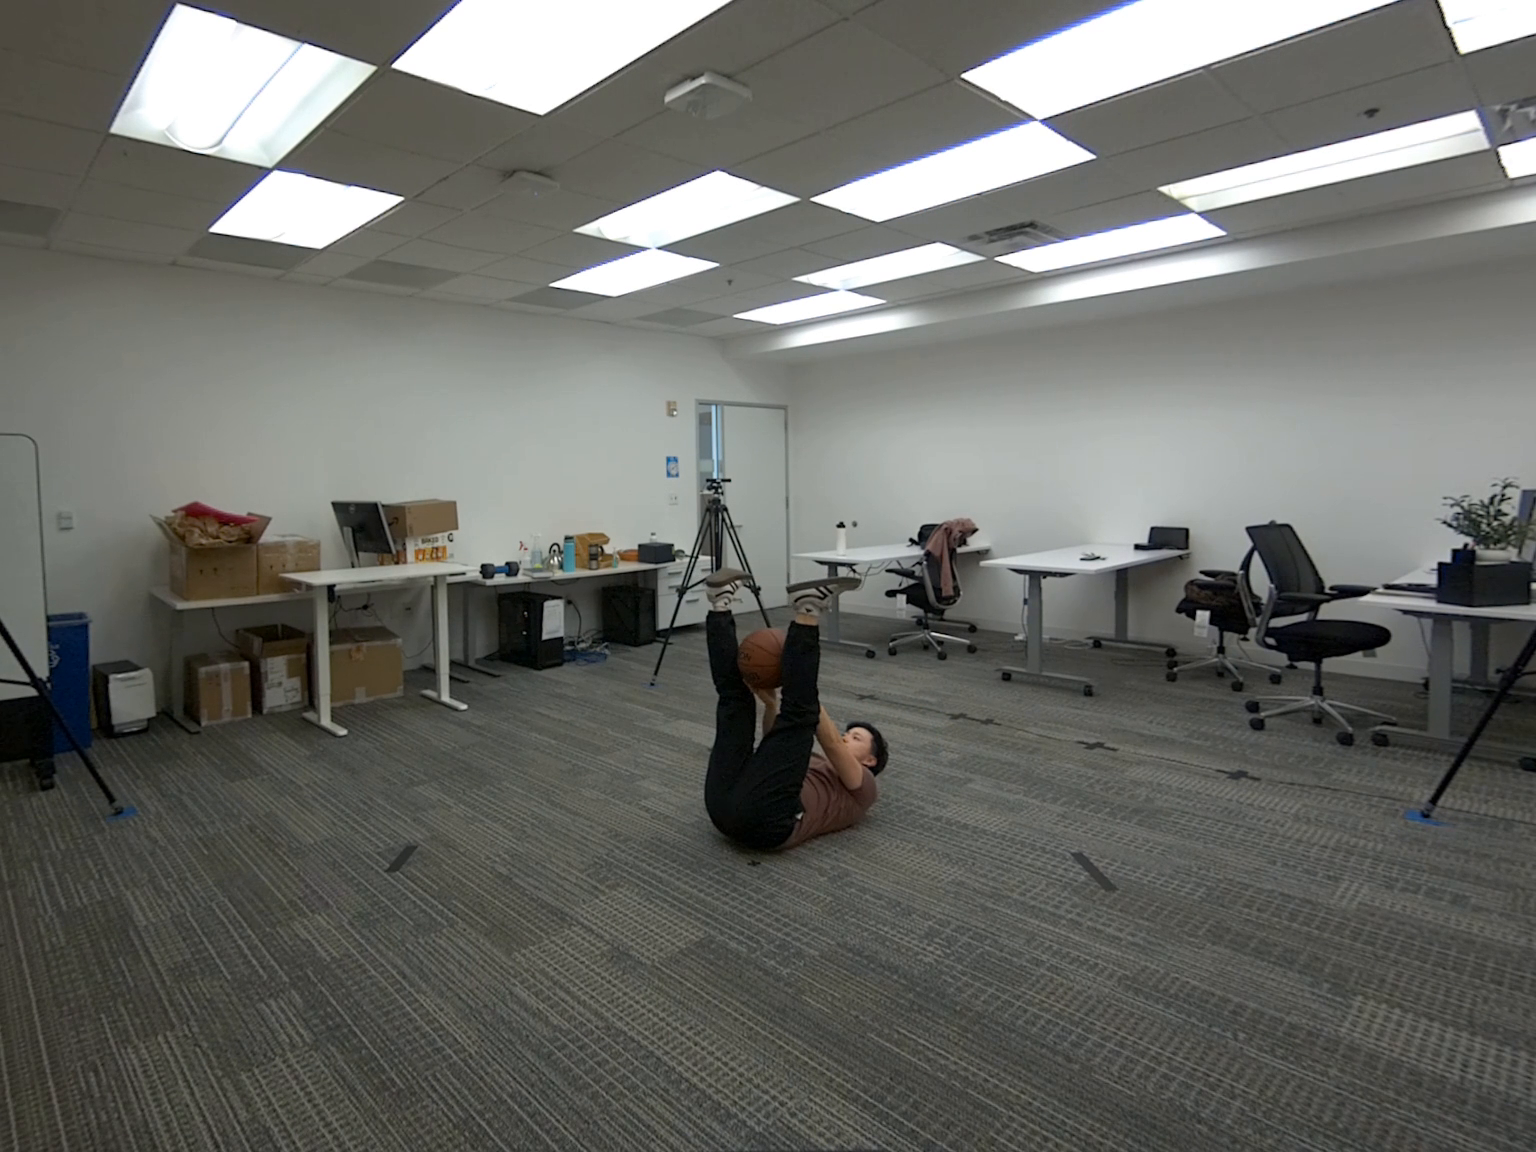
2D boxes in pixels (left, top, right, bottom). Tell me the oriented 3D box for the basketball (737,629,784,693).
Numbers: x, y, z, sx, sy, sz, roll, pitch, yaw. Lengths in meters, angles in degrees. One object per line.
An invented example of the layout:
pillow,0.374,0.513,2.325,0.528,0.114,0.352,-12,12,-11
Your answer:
basketball,-0.004,0.319,3.314,0.236,0.235,0.237,-2,5,-2
